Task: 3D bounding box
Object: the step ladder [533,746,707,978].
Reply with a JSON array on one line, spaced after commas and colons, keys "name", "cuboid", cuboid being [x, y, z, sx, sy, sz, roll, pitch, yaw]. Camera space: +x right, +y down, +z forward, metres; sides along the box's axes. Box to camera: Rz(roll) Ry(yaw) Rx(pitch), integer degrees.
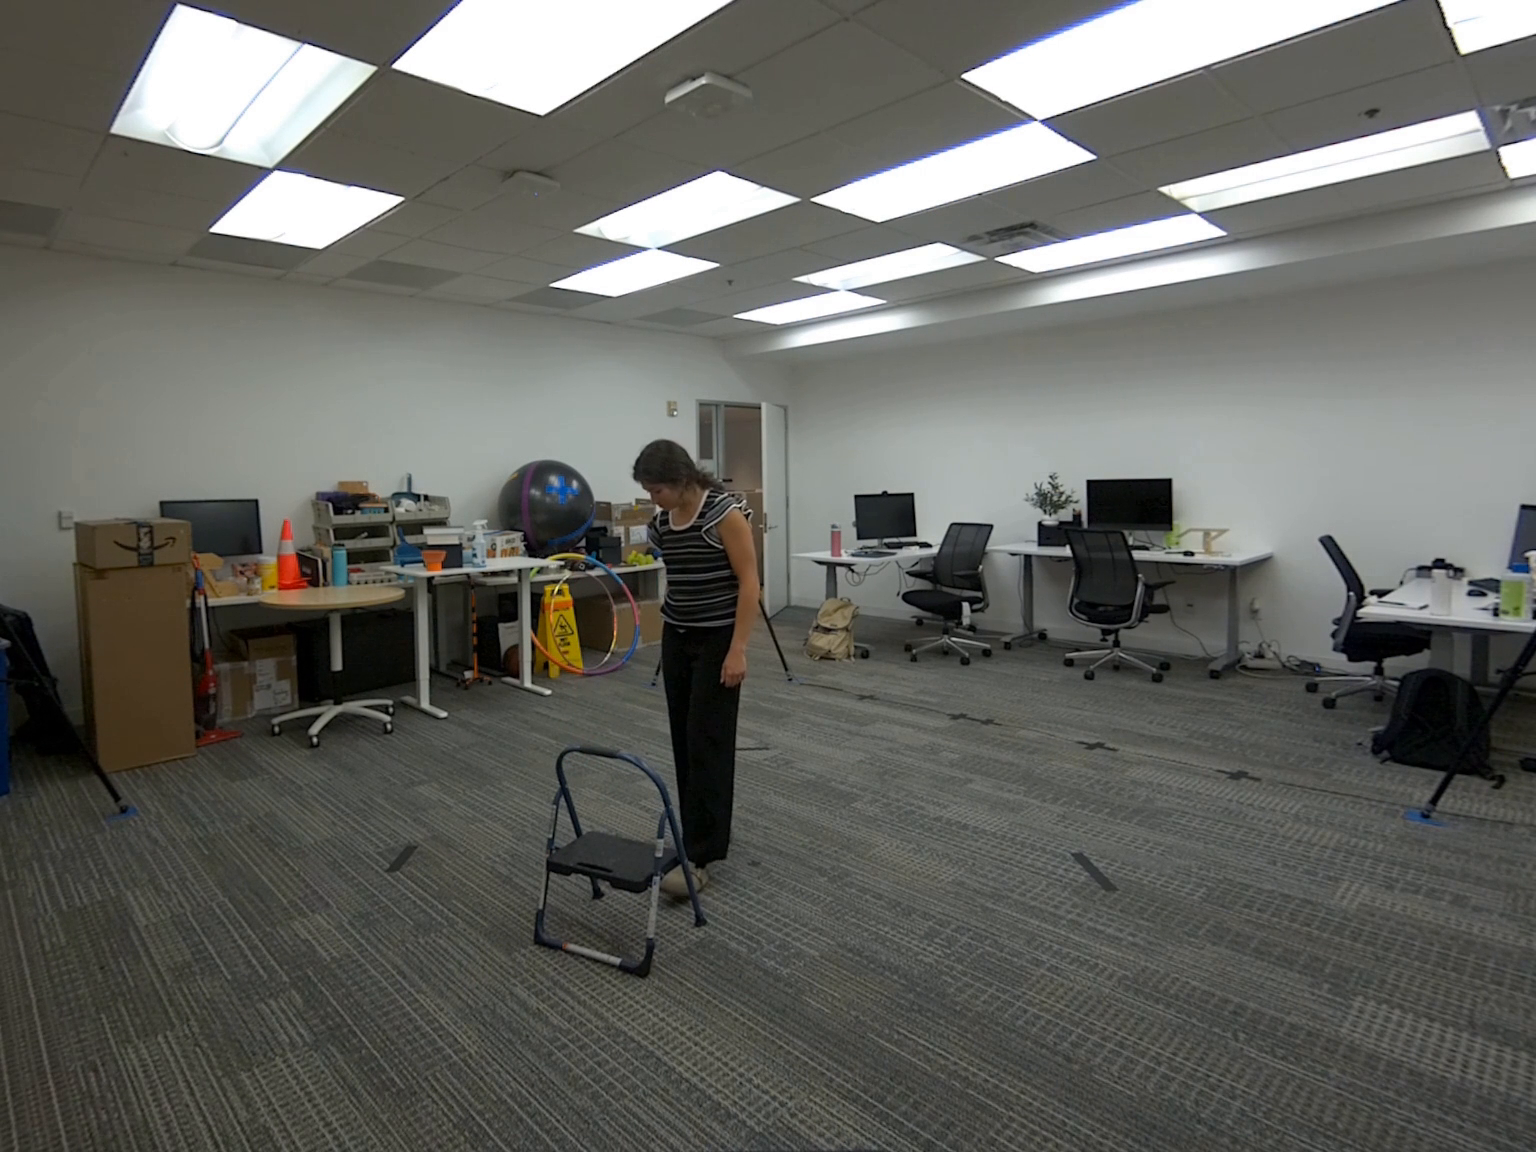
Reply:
[{"name": "step ladder", "cuboid": [-0.463, 0.808, 2.628, 0.441, 0.604, 0.342, 1, 5, 27]}]
